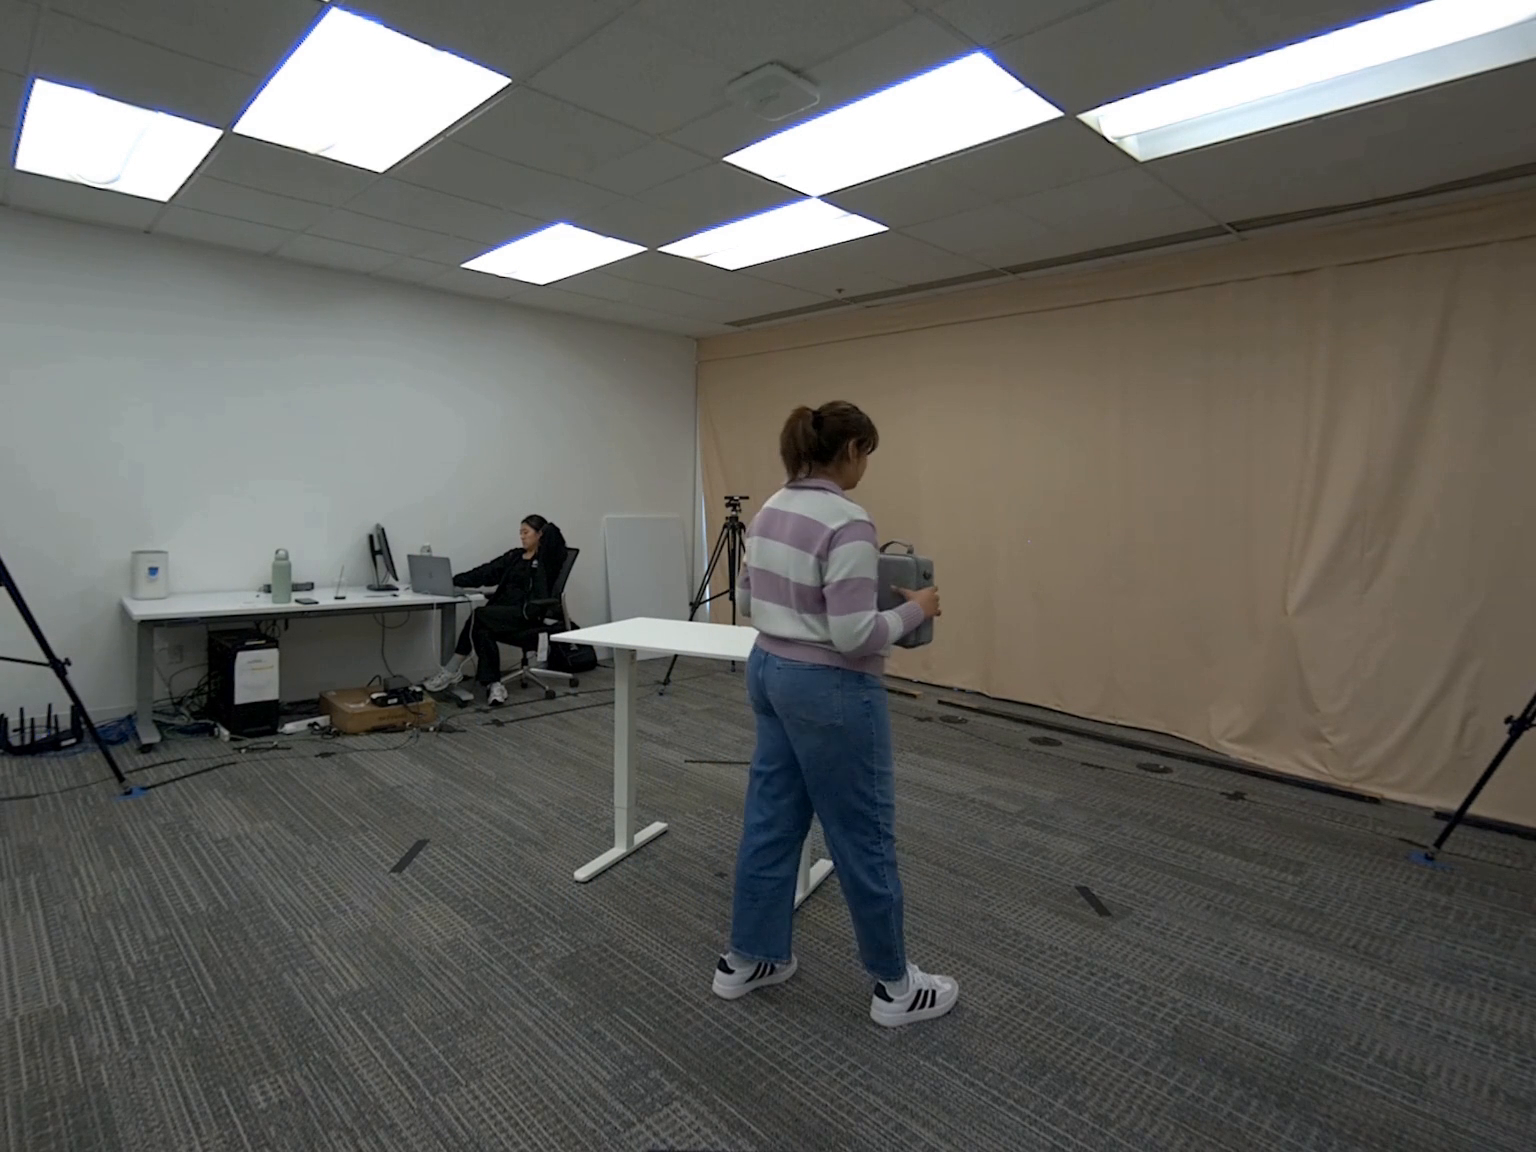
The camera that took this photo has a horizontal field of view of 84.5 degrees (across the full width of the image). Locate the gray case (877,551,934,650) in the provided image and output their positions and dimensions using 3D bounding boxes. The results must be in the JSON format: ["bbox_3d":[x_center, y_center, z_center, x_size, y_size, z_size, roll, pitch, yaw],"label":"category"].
[{"bbox_3d":[0.351,0.064,2.388,0.102,0.260,0.263,2,2,-35],"label":"gray case"}]
